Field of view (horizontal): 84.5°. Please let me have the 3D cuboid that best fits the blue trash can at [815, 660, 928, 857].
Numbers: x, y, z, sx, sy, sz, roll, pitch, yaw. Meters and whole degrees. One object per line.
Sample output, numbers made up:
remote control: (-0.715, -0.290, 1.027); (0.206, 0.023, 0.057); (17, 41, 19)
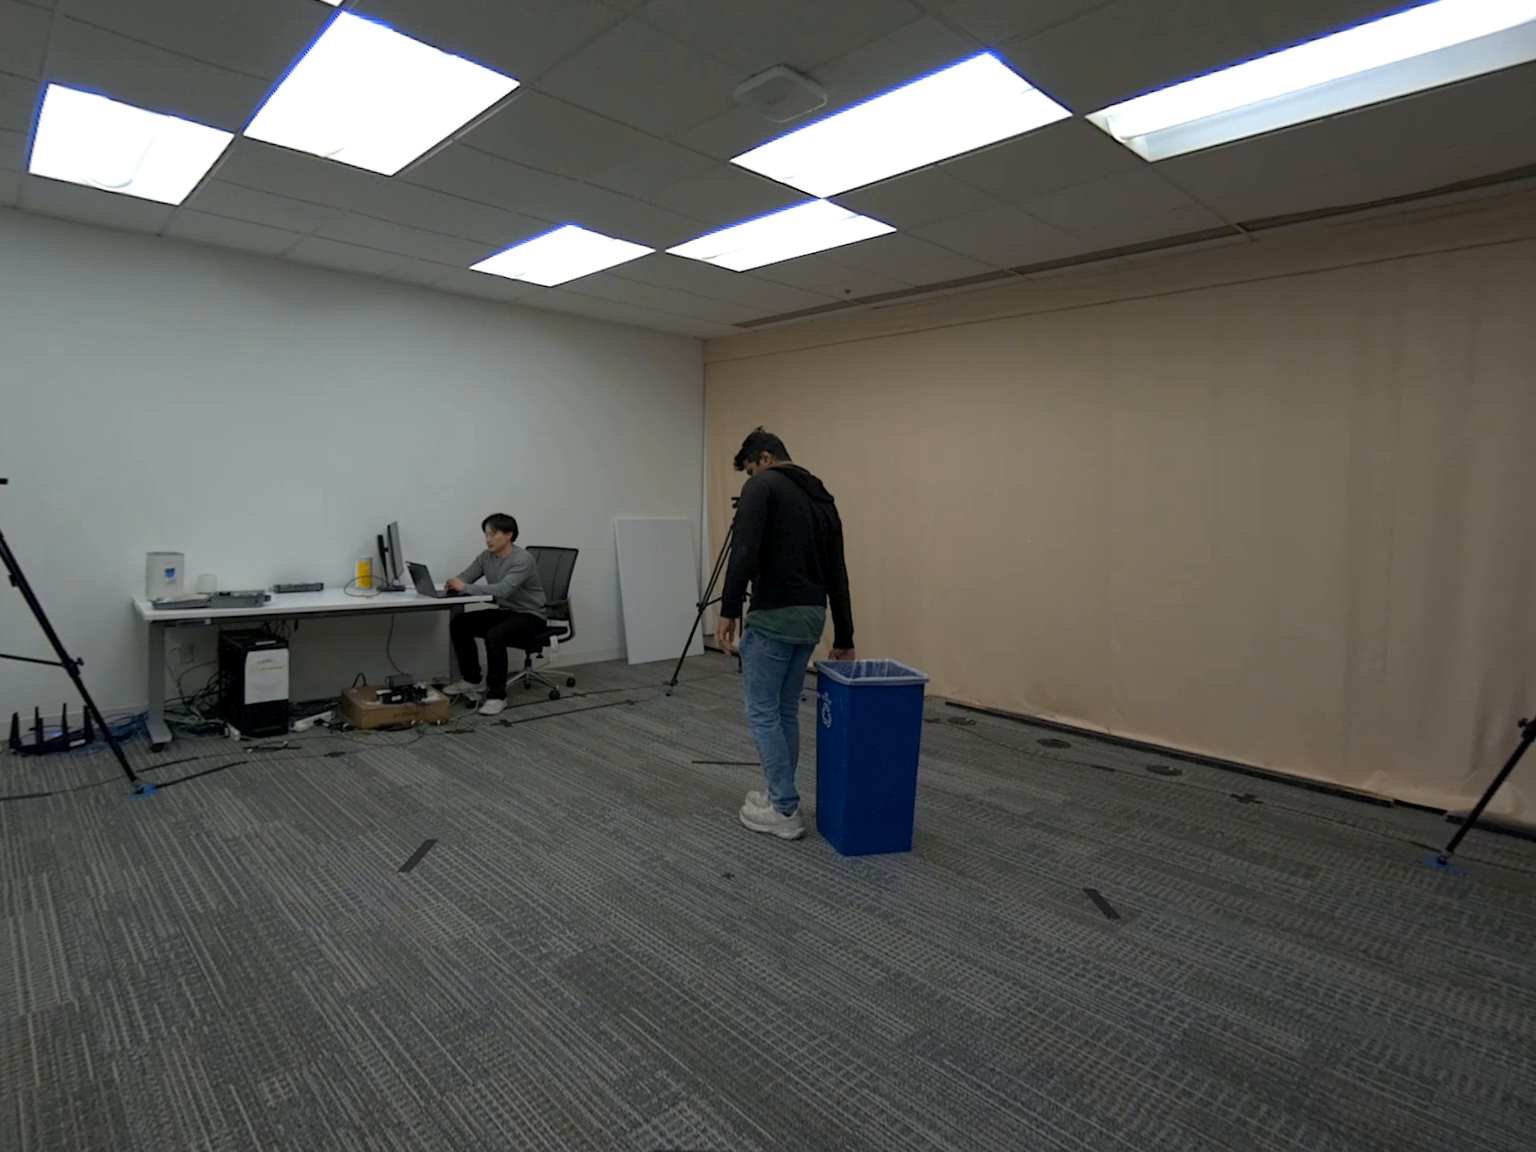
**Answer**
blue trash can: (0.387, 0.731, 3.444); (0.369, 0.712, 0.384); (1, 3, -18)
